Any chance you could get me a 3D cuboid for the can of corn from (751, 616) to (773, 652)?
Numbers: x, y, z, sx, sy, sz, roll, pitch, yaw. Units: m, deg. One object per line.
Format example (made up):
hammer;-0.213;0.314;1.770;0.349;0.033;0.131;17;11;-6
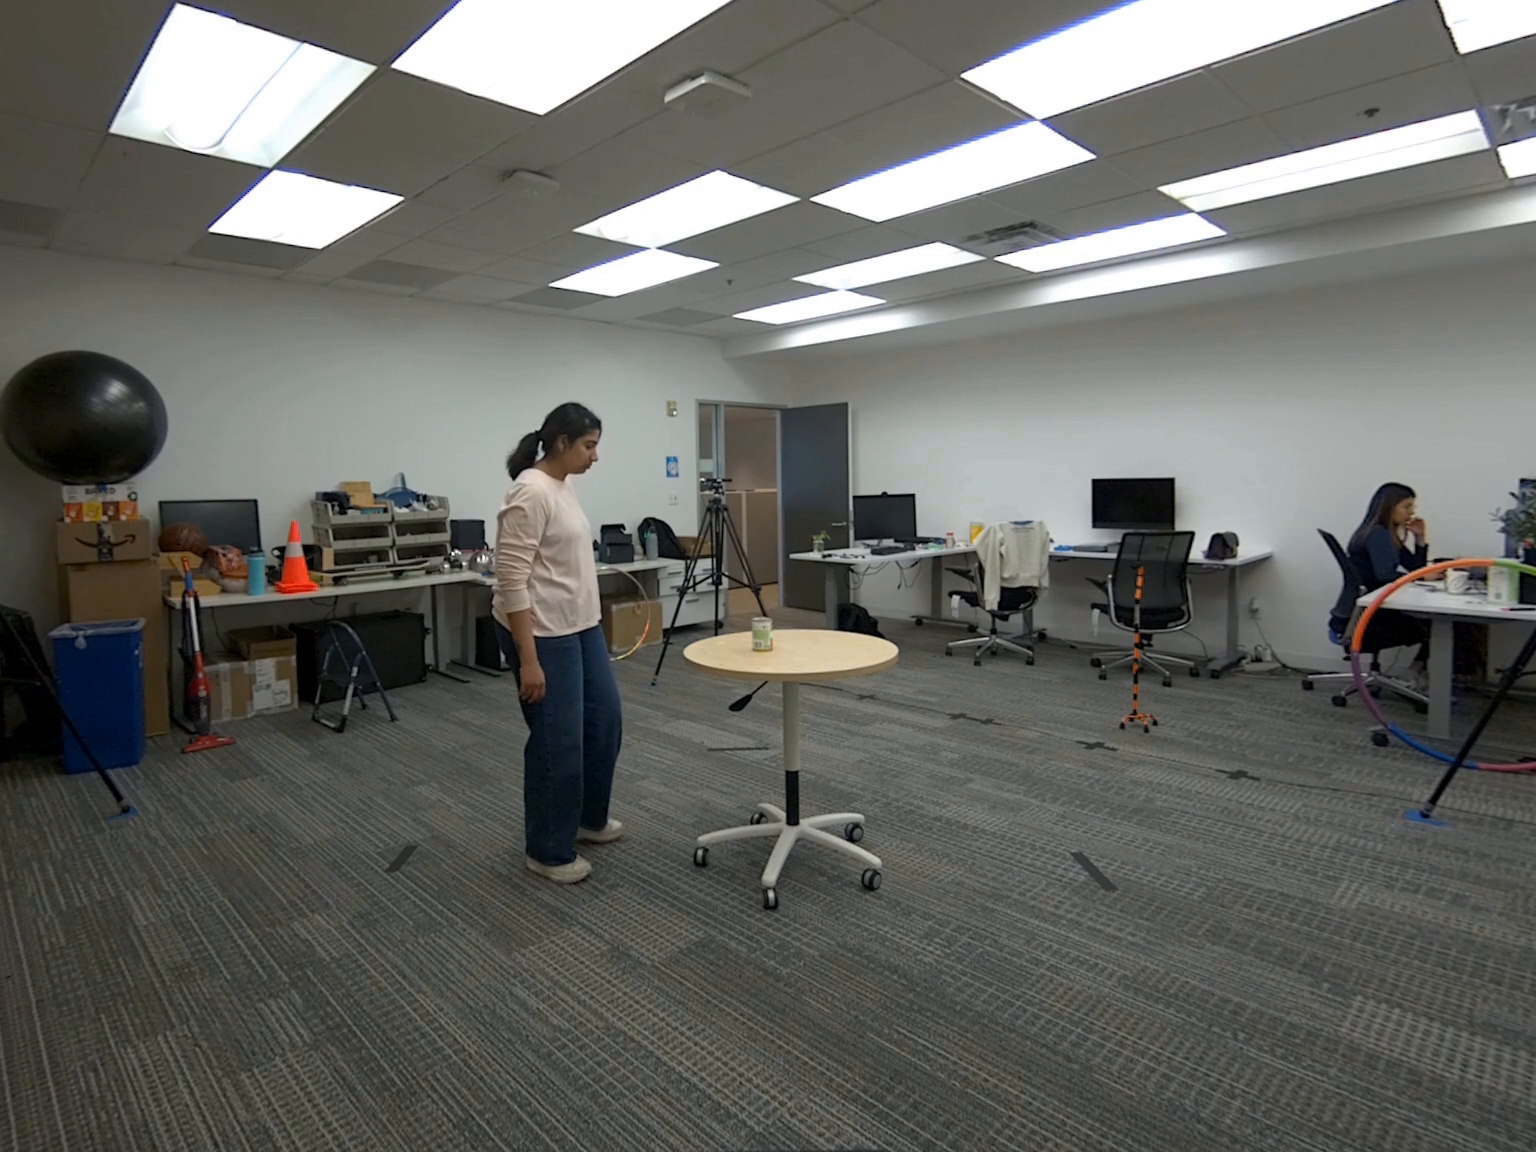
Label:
can of corn;-0.024;0.208;3.052;0.074;0.111;0.074;-3;1;-2
